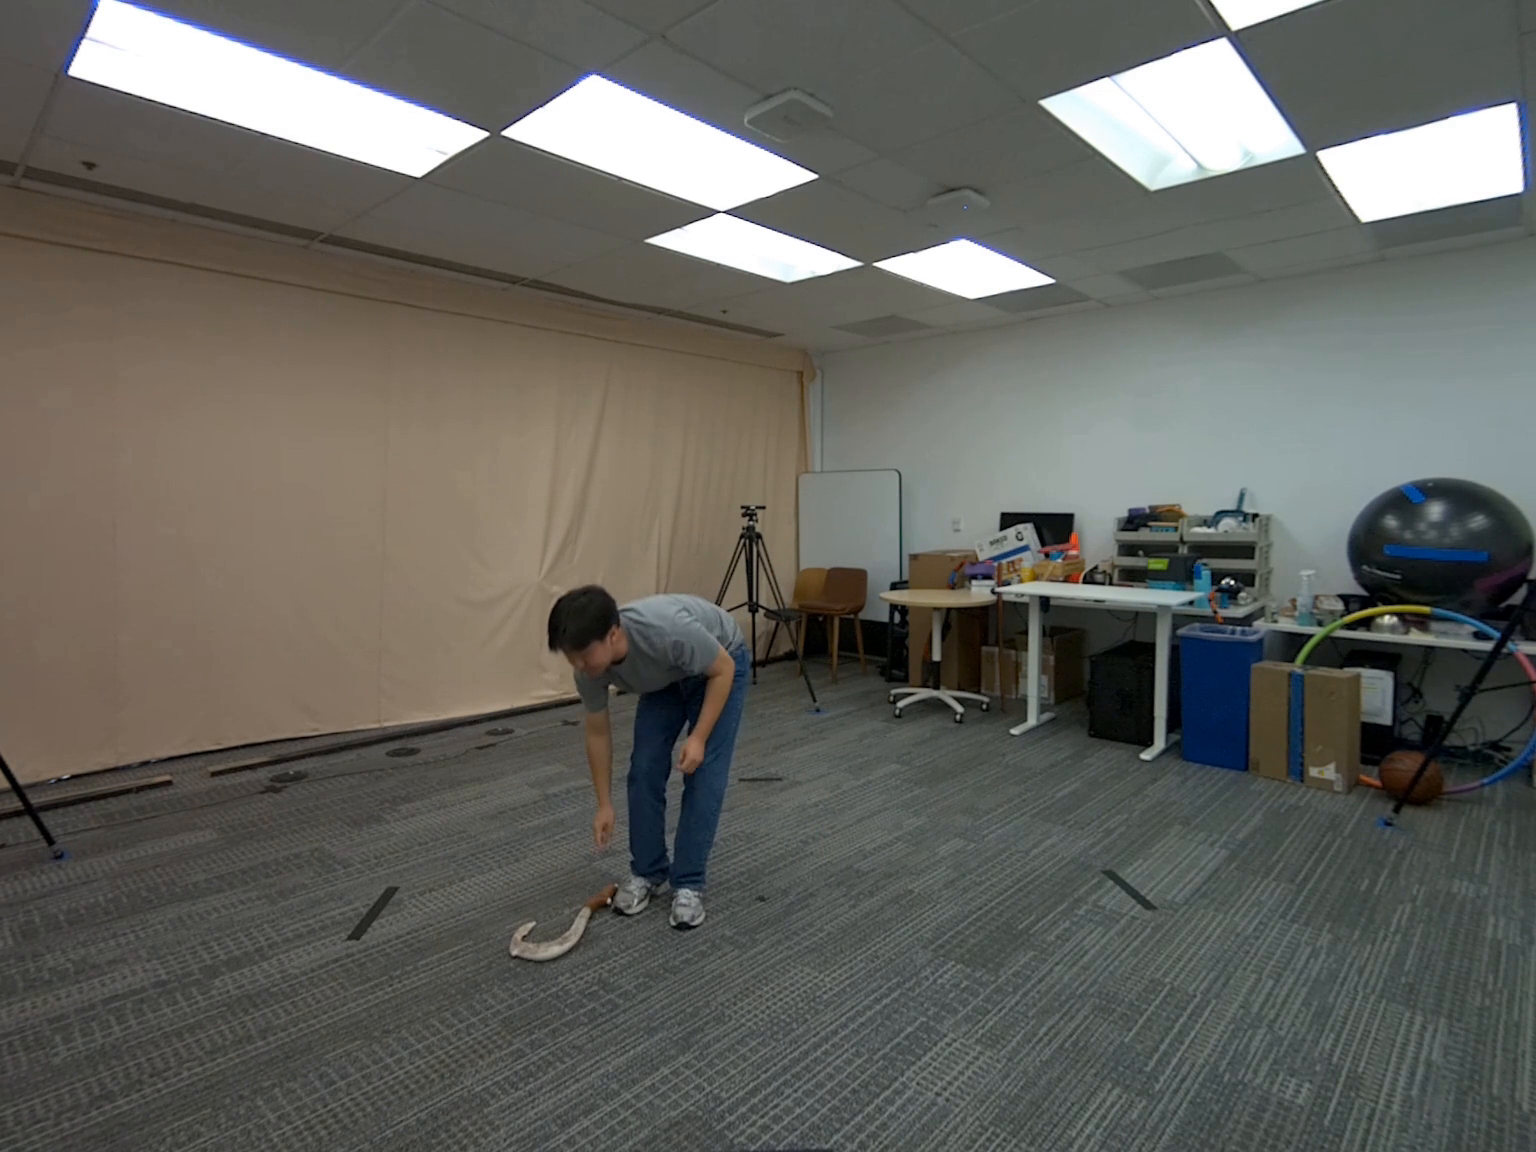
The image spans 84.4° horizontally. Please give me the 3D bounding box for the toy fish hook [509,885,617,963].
[{"bbox_3d":[-0.671,1.137,2.812,0.229,0.048,0.497,2,5,18],"label":"toy fish hook"}]
